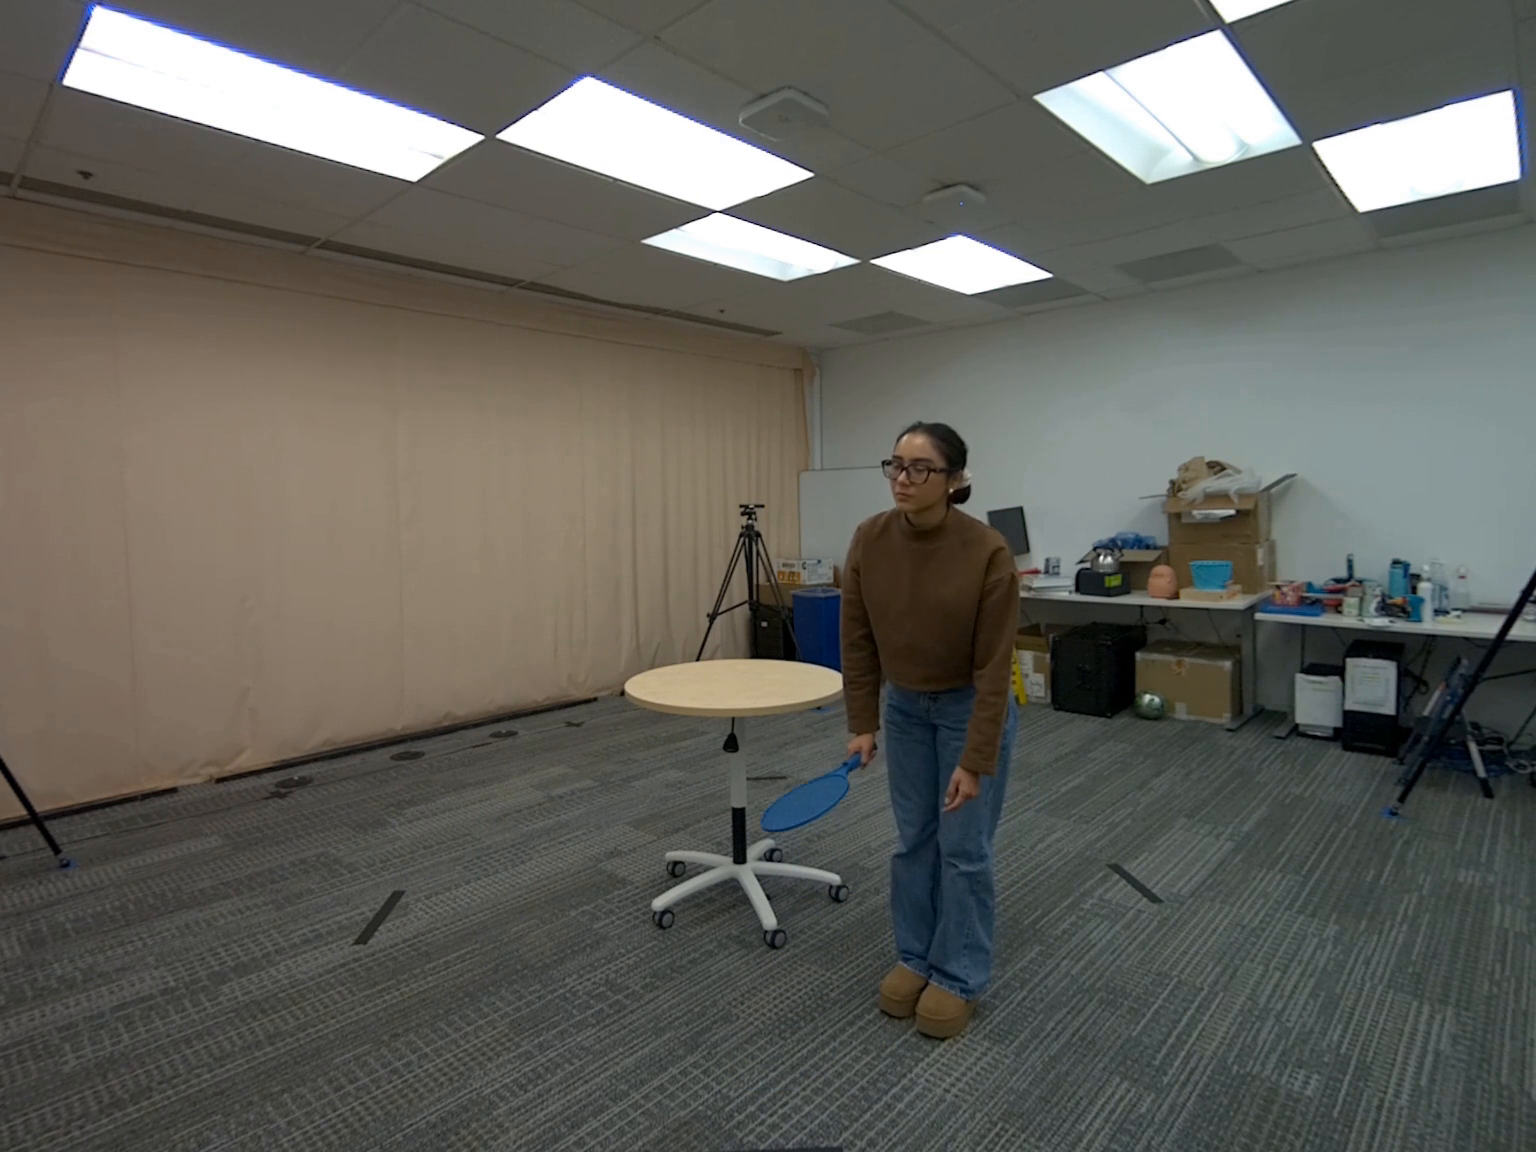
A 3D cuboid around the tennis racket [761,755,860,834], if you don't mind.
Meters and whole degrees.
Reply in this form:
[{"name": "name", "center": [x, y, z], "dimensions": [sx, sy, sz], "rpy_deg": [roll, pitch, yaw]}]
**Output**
[{"name": "tennis racket", "center": [0.153, 0.548, 2.162], "dimensions": [0.219, 0.031, 0.424], "rpy_deg": [-16, 9, 47]}]
